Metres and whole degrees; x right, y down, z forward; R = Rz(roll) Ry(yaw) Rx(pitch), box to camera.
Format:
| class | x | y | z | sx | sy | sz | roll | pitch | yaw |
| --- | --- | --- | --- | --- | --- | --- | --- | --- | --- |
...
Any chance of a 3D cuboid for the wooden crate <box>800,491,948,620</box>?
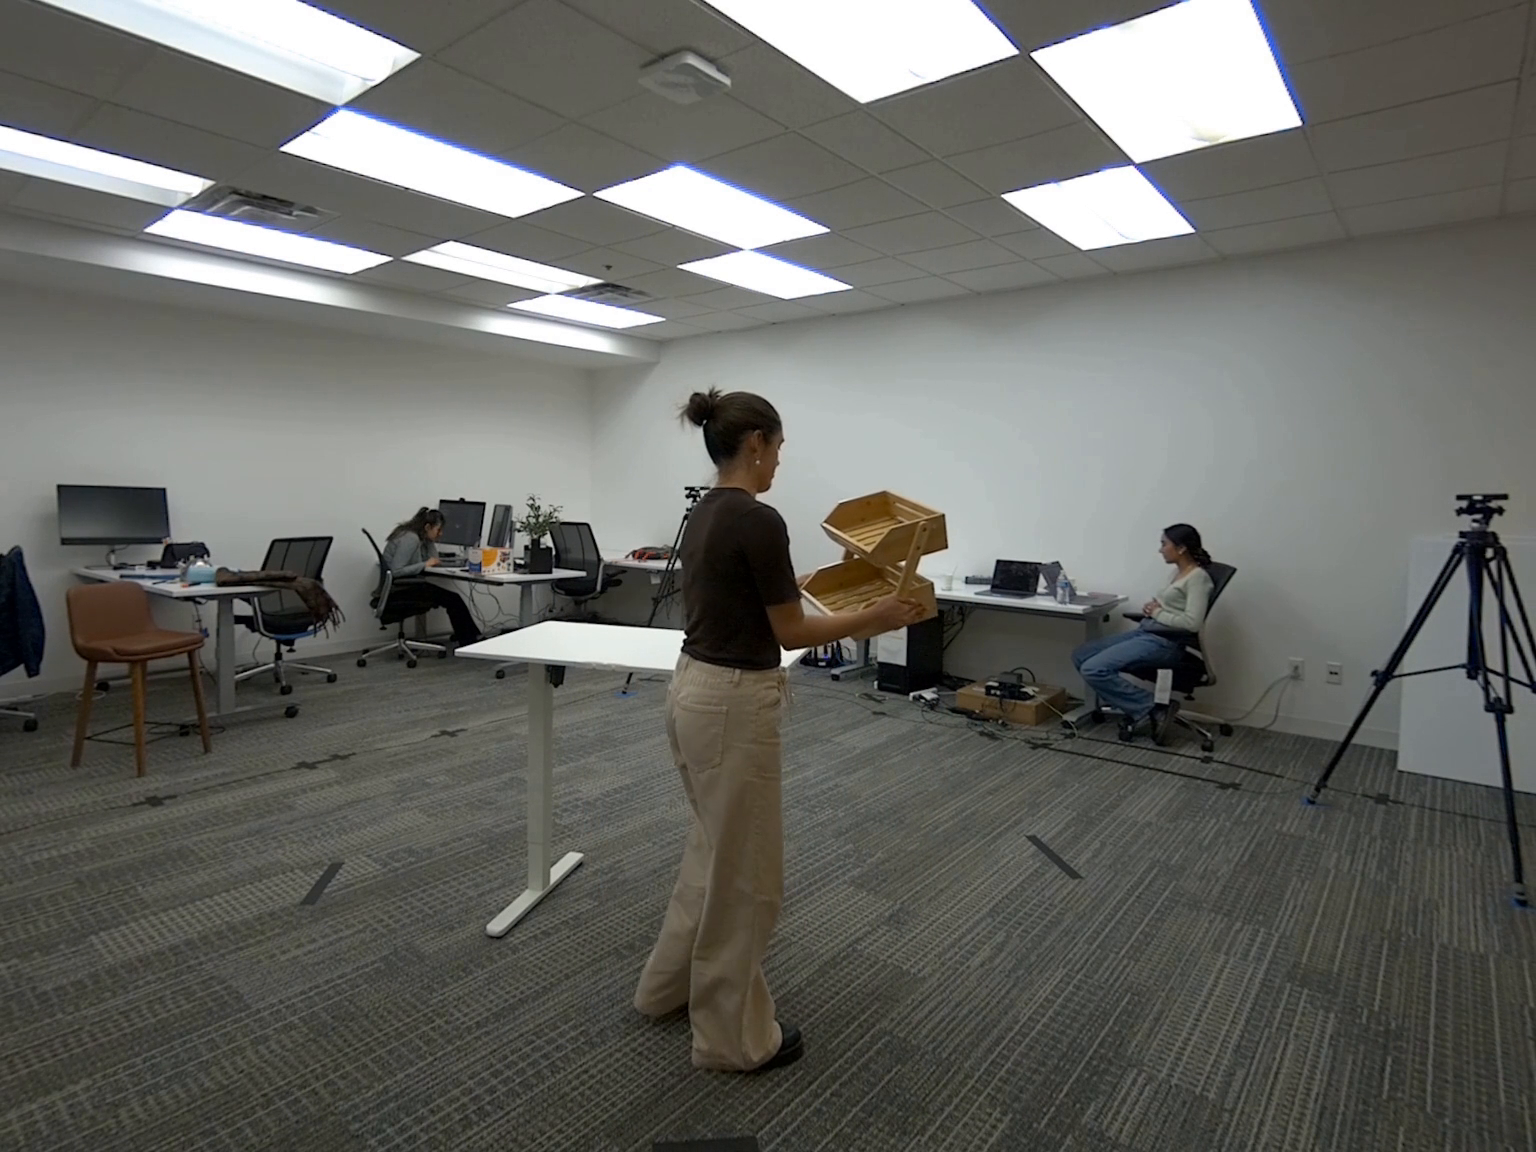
| class | x | y | z | sx | sy | sz | roll | pitch | yaw |
| --- | --- | --- | --- | --- | --- | --- | --- | --- | --- |
| wooden crate | 0.243 | -0.040 | 2.213 | 0.299 | 0.268 | 0.334 | -15 | 20 | -13 |
